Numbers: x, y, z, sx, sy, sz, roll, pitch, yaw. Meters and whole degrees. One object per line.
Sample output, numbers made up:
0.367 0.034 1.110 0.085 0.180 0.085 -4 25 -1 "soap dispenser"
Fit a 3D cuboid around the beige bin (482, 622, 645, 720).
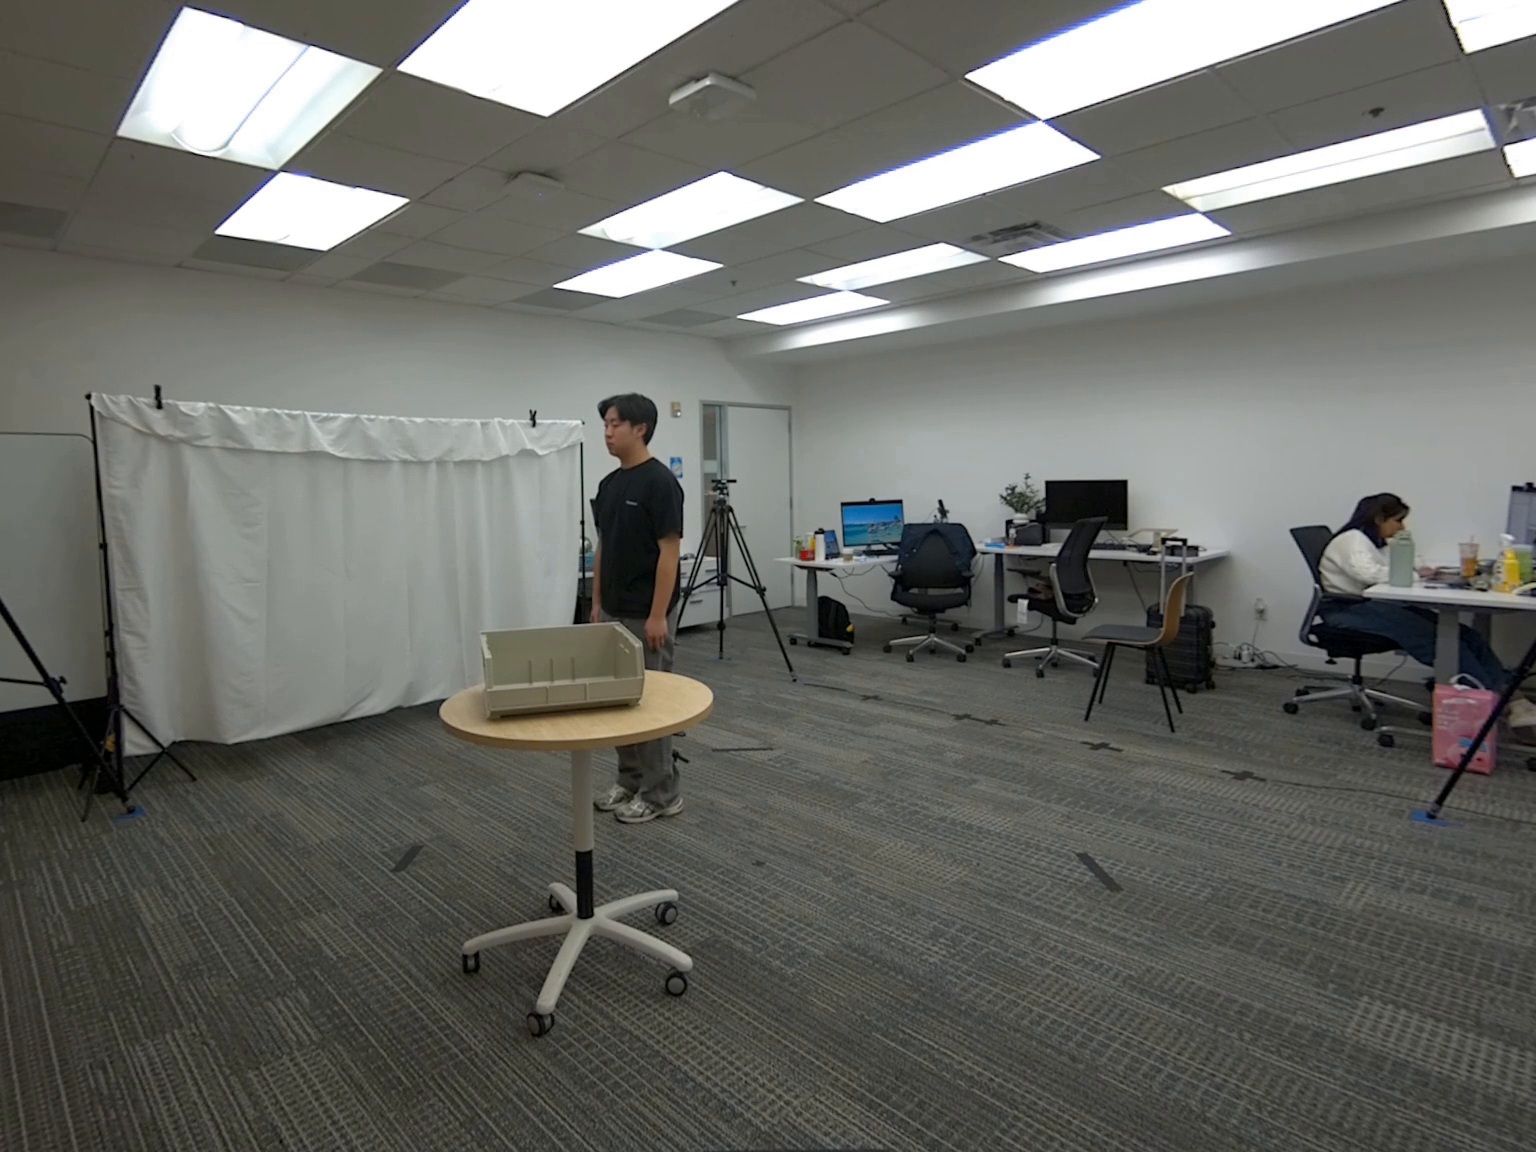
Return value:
-0.597 0.266 2.427 0.415 0.188 0.385 -3 5 -19 "beige bin"
